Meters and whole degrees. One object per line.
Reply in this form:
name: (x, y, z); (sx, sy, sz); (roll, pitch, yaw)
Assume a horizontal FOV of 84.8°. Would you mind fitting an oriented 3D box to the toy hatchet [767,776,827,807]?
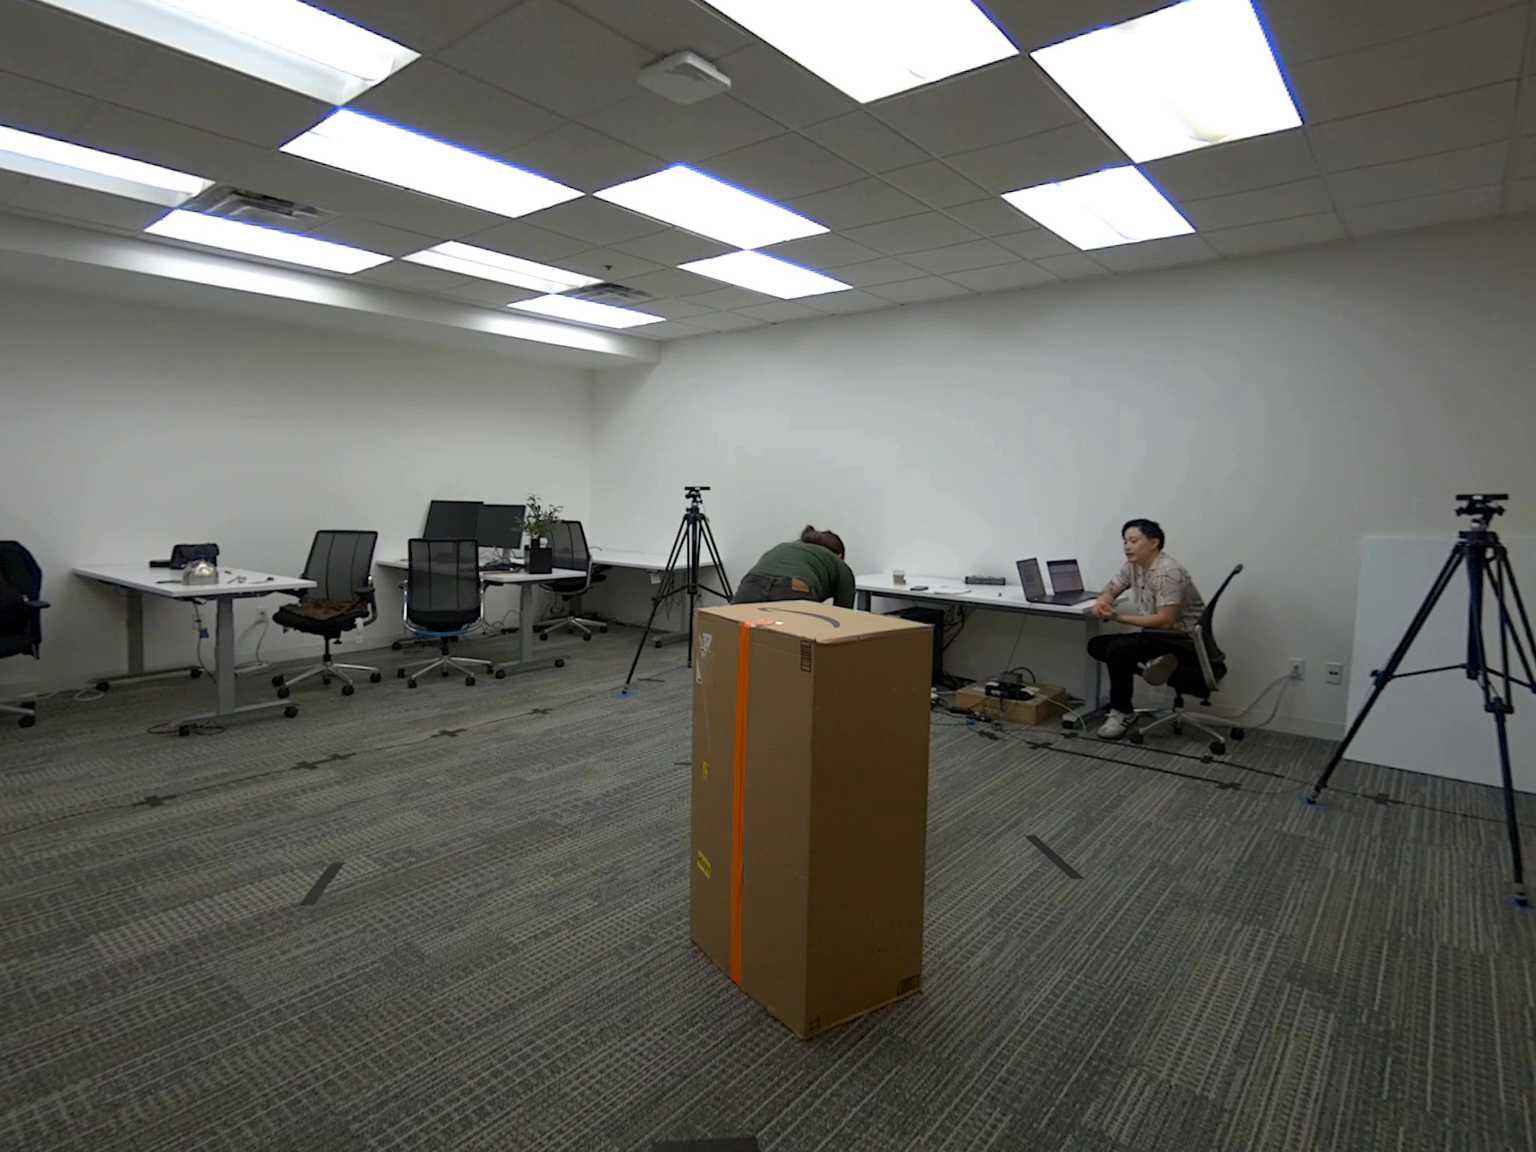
toy hatchet: (0.131, 0.978, 3.834); (0.135, 0.029, 0.262); (6, 9, 39)
